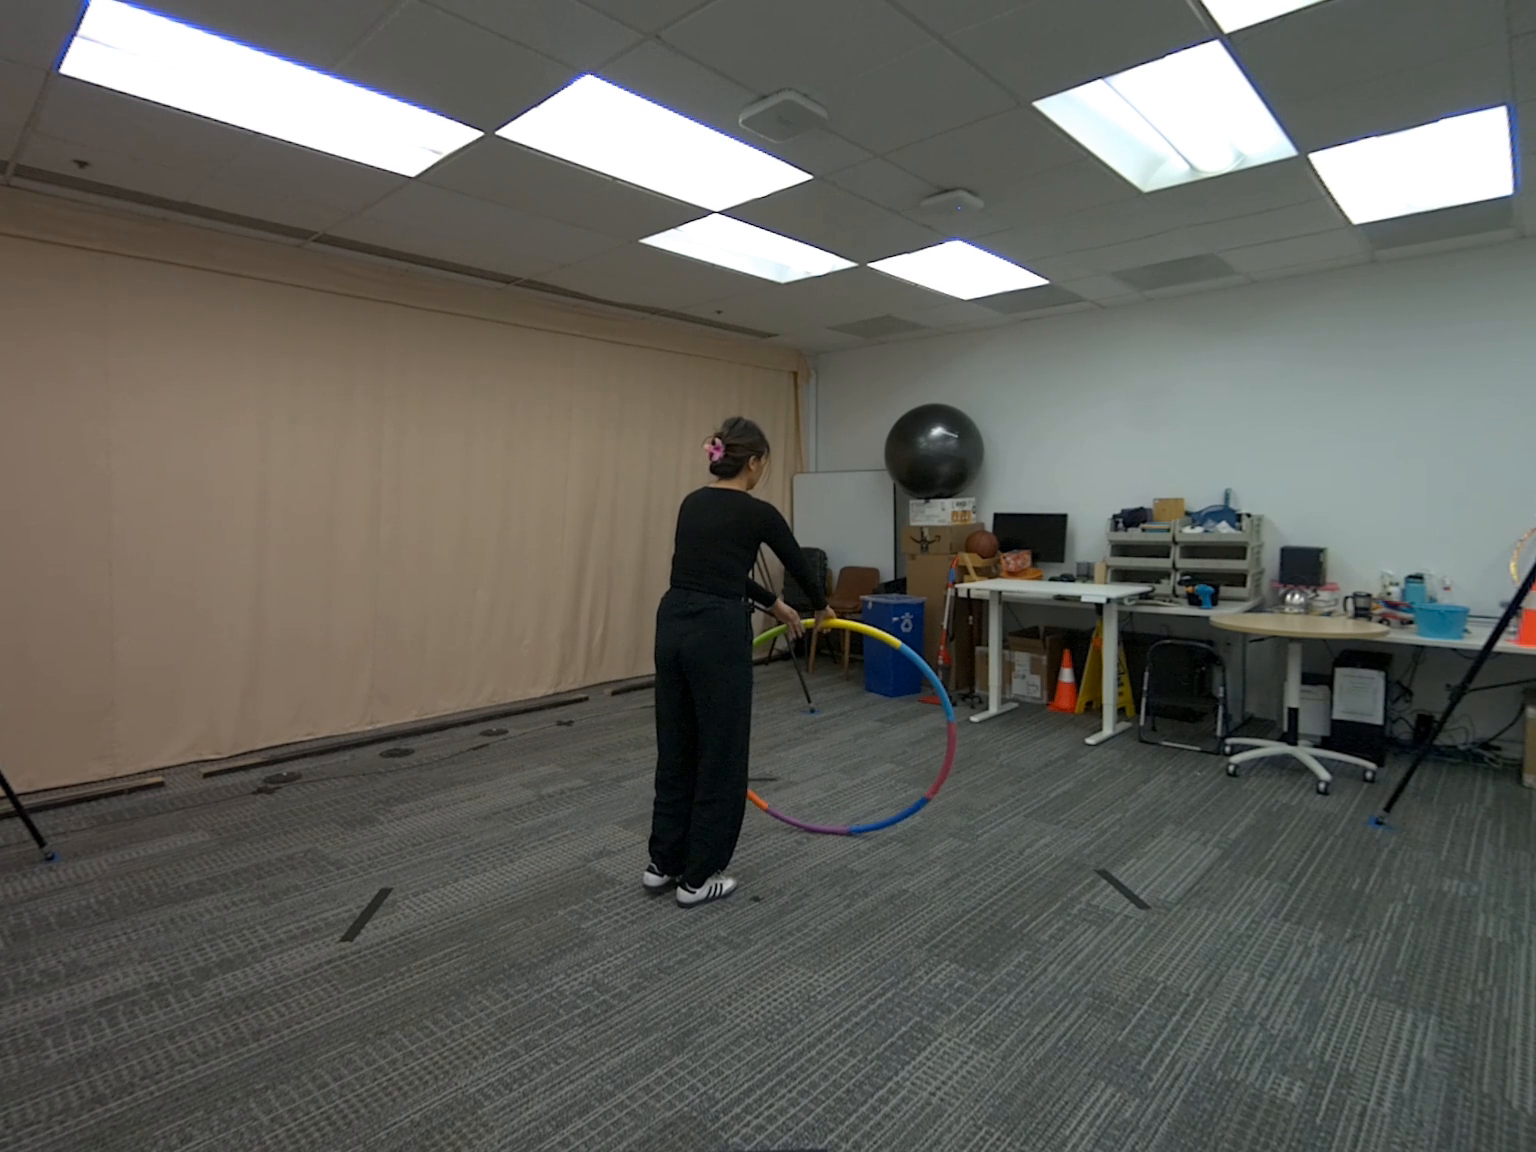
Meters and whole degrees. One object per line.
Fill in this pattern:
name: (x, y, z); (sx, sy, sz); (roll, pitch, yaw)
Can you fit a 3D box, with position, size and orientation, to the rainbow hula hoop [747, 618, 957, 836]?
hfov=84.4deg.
rainbow hula hoop: (0.252, 0.633, 3.453); (0.992, 0.967, 0.035); (1, 17, 13)
